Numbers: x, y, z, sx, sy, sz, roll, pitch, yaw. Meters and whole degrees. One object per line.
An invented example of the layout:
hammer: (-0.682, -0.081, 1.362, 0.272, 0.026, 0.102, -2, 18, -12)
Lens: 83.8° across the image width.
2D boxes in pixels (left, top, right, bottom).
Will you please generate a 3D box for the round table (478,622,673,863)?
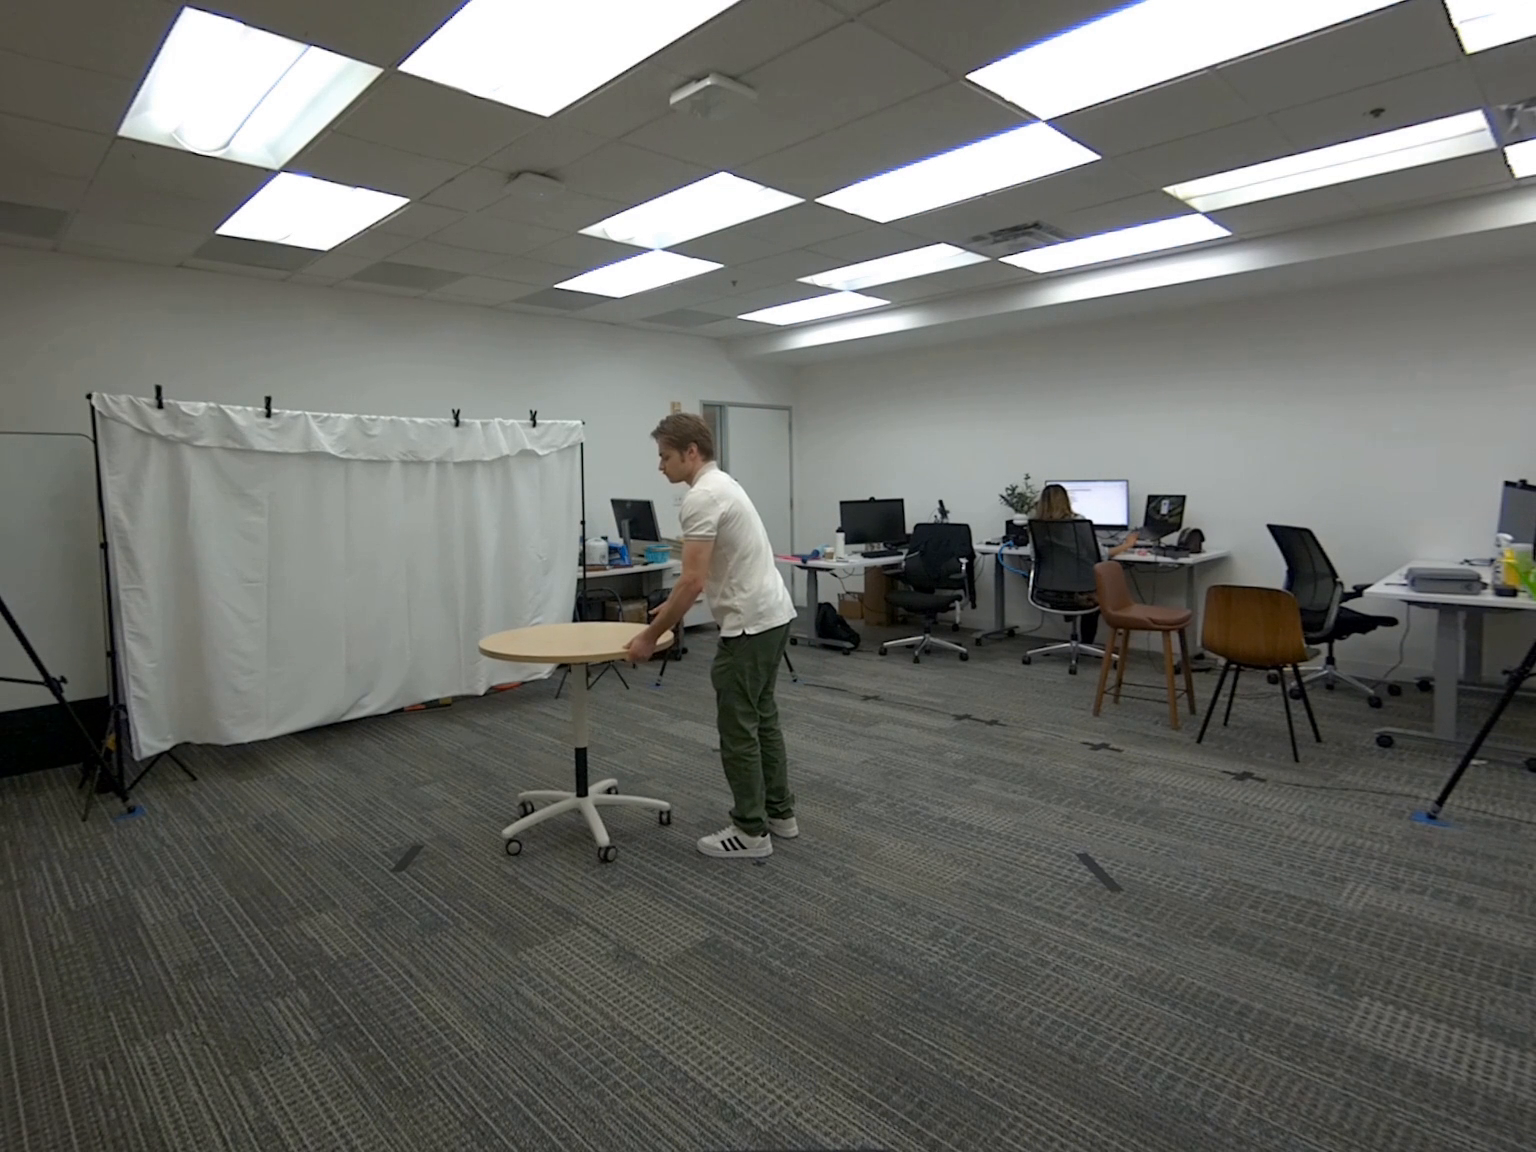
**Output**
round table: (-0.750, 0.636, 3.436, 0.763, 0.791, 0.767, -1, 4, -2)
